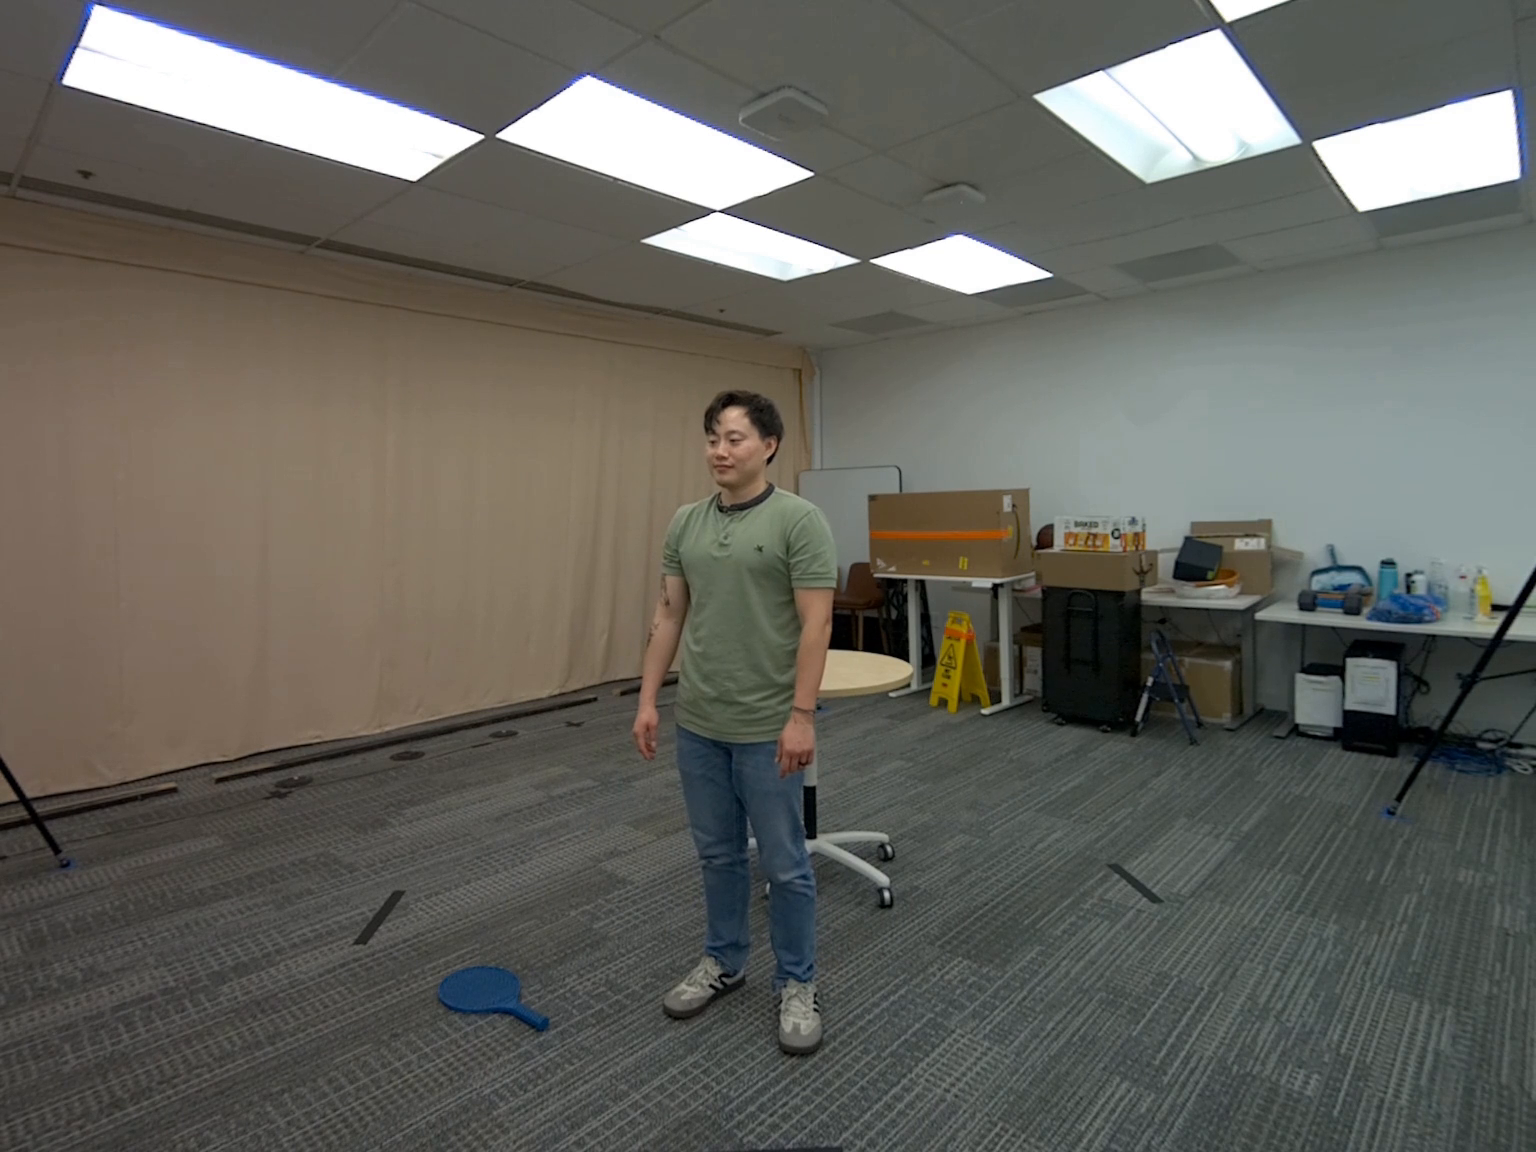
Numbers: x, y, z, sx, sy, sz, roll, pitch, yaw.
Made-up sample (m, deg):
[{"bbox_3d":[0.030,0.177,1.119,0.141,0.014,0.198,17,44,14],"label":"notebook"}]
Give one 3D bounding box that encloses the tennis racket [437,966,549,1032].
[{"bbox_3d":[-0.772,1.195,2.381,0.447,0.032,0.207,0,3,39],"label":"tennis racket"}]
